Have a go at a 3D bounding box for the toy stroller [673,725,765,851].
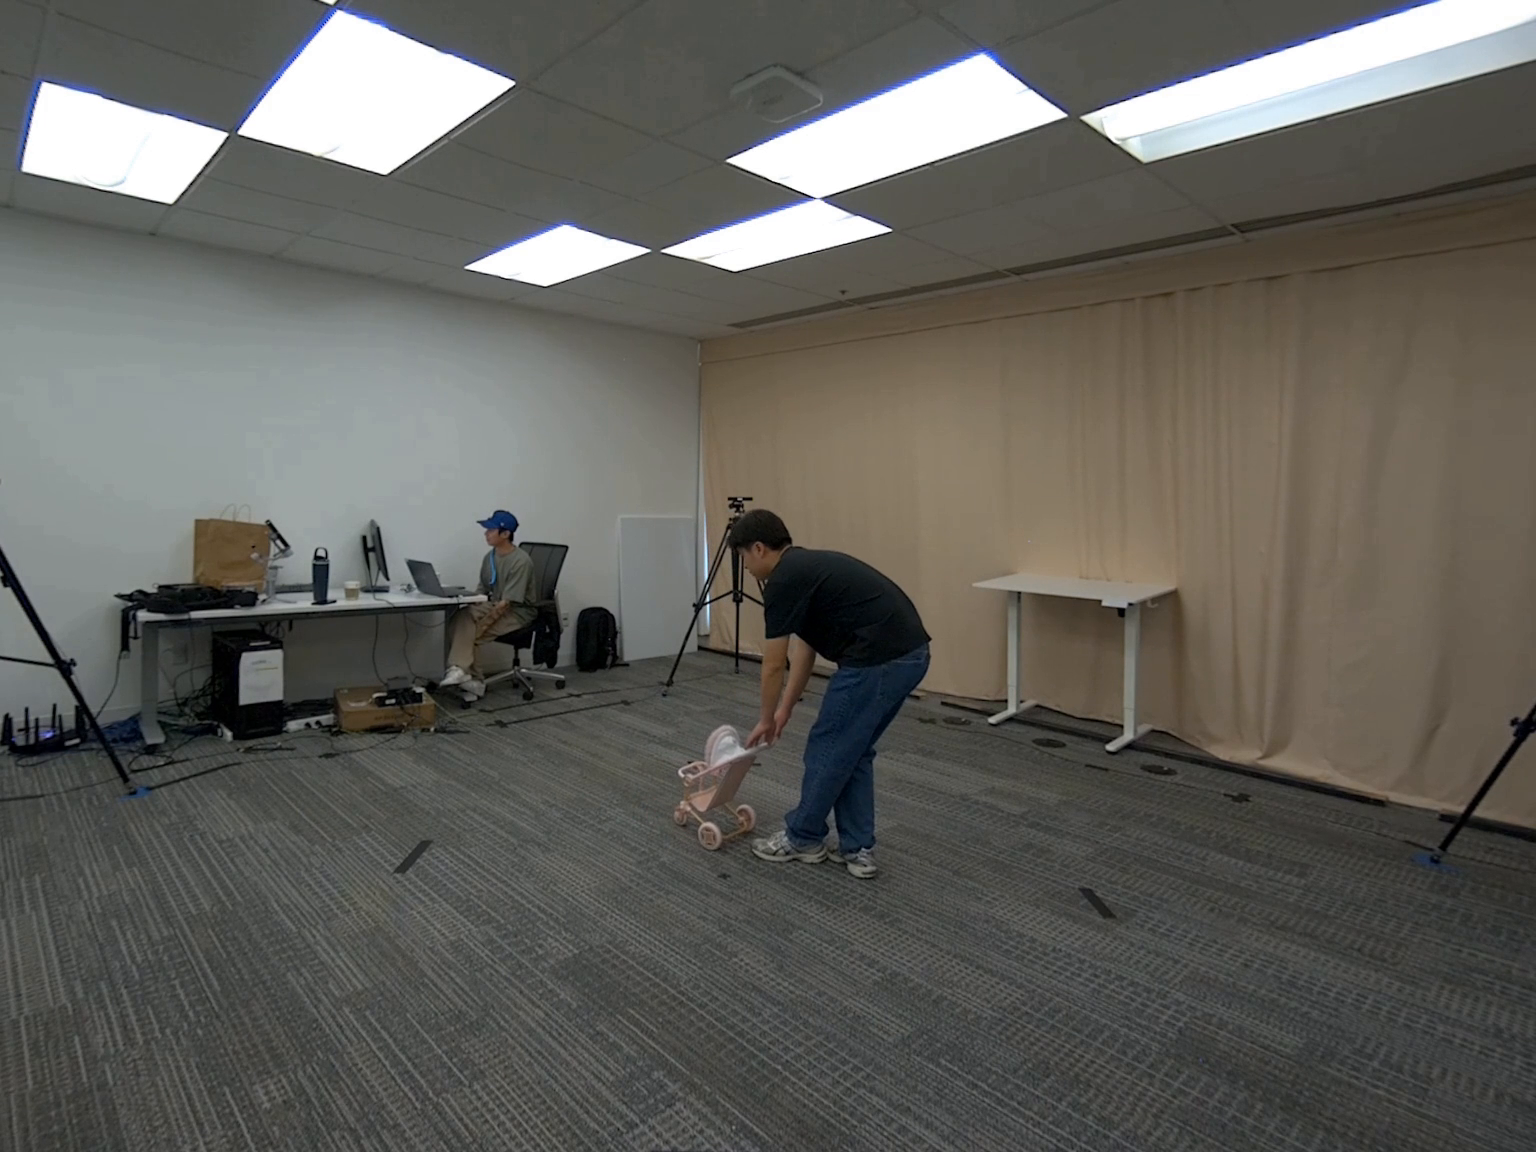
[{"bbox_3d":[-0.211,0.848,3.465,0.351,0.531,0.275,25,16,37],"label":"toy stroller"}]
